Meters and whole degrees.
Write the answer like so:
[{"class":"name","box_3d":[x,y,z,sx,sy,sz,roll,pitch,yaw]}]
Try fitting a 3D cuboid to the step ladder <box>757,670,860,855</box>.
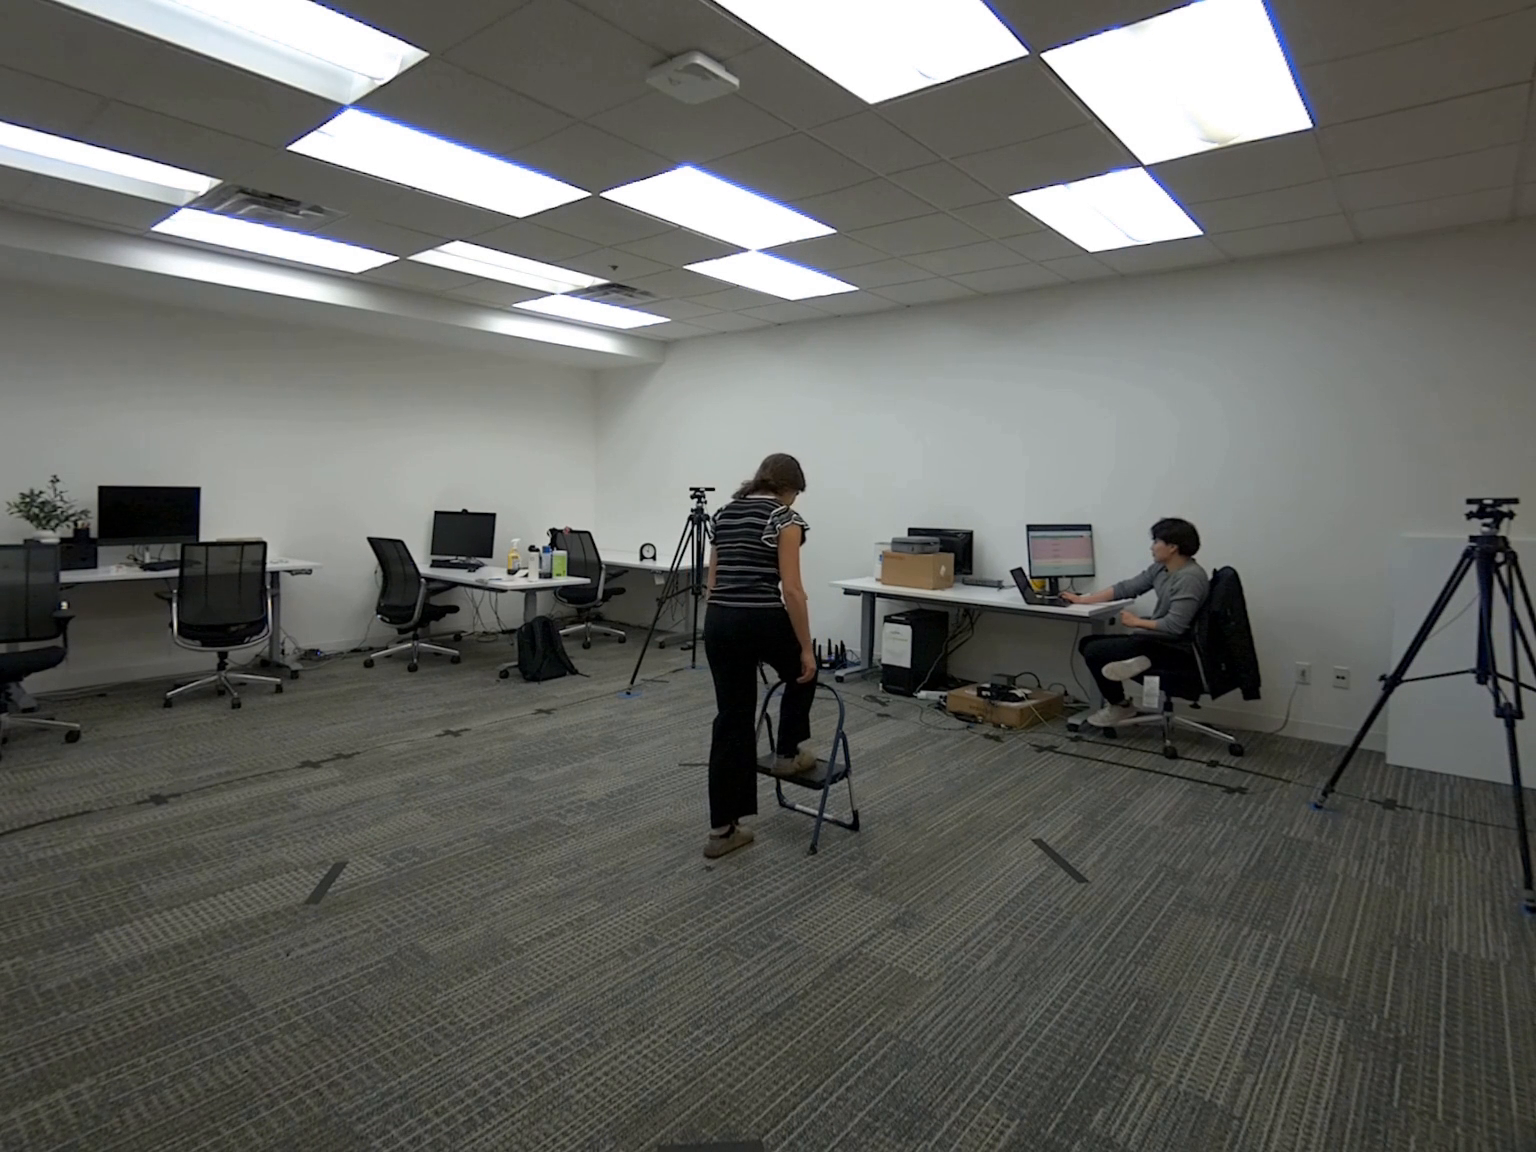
[{"class":"step ladder","box_3d":[0.114,0.734,3.494,0.445,0.604,0.339,4,4,39]}]
